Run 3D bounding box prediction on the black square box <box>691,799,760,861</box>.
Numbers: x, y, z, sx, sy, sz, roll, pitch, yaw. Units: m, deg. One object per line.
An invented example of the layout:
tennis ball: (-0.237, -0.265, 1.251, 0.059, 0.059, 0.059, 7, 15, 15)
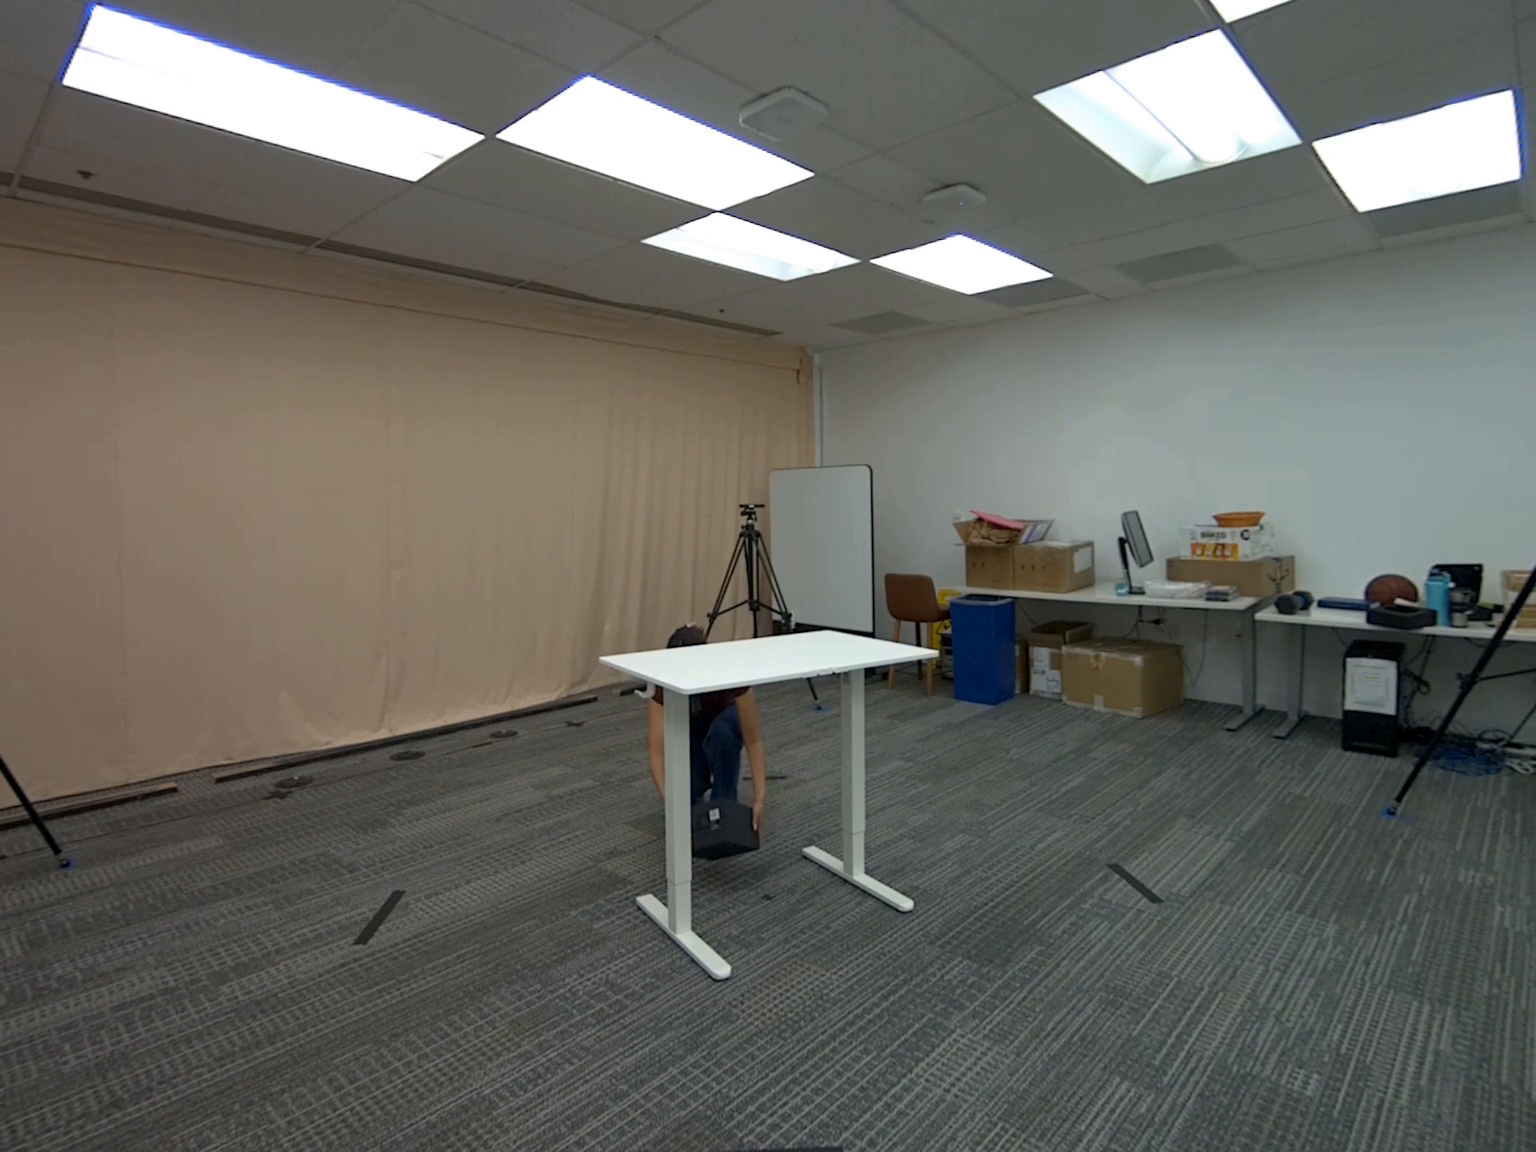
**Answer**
black square box: (-0.193, 0.947, 3.160, 0.220, 0.159, 0.219, -23, -34, 24)
